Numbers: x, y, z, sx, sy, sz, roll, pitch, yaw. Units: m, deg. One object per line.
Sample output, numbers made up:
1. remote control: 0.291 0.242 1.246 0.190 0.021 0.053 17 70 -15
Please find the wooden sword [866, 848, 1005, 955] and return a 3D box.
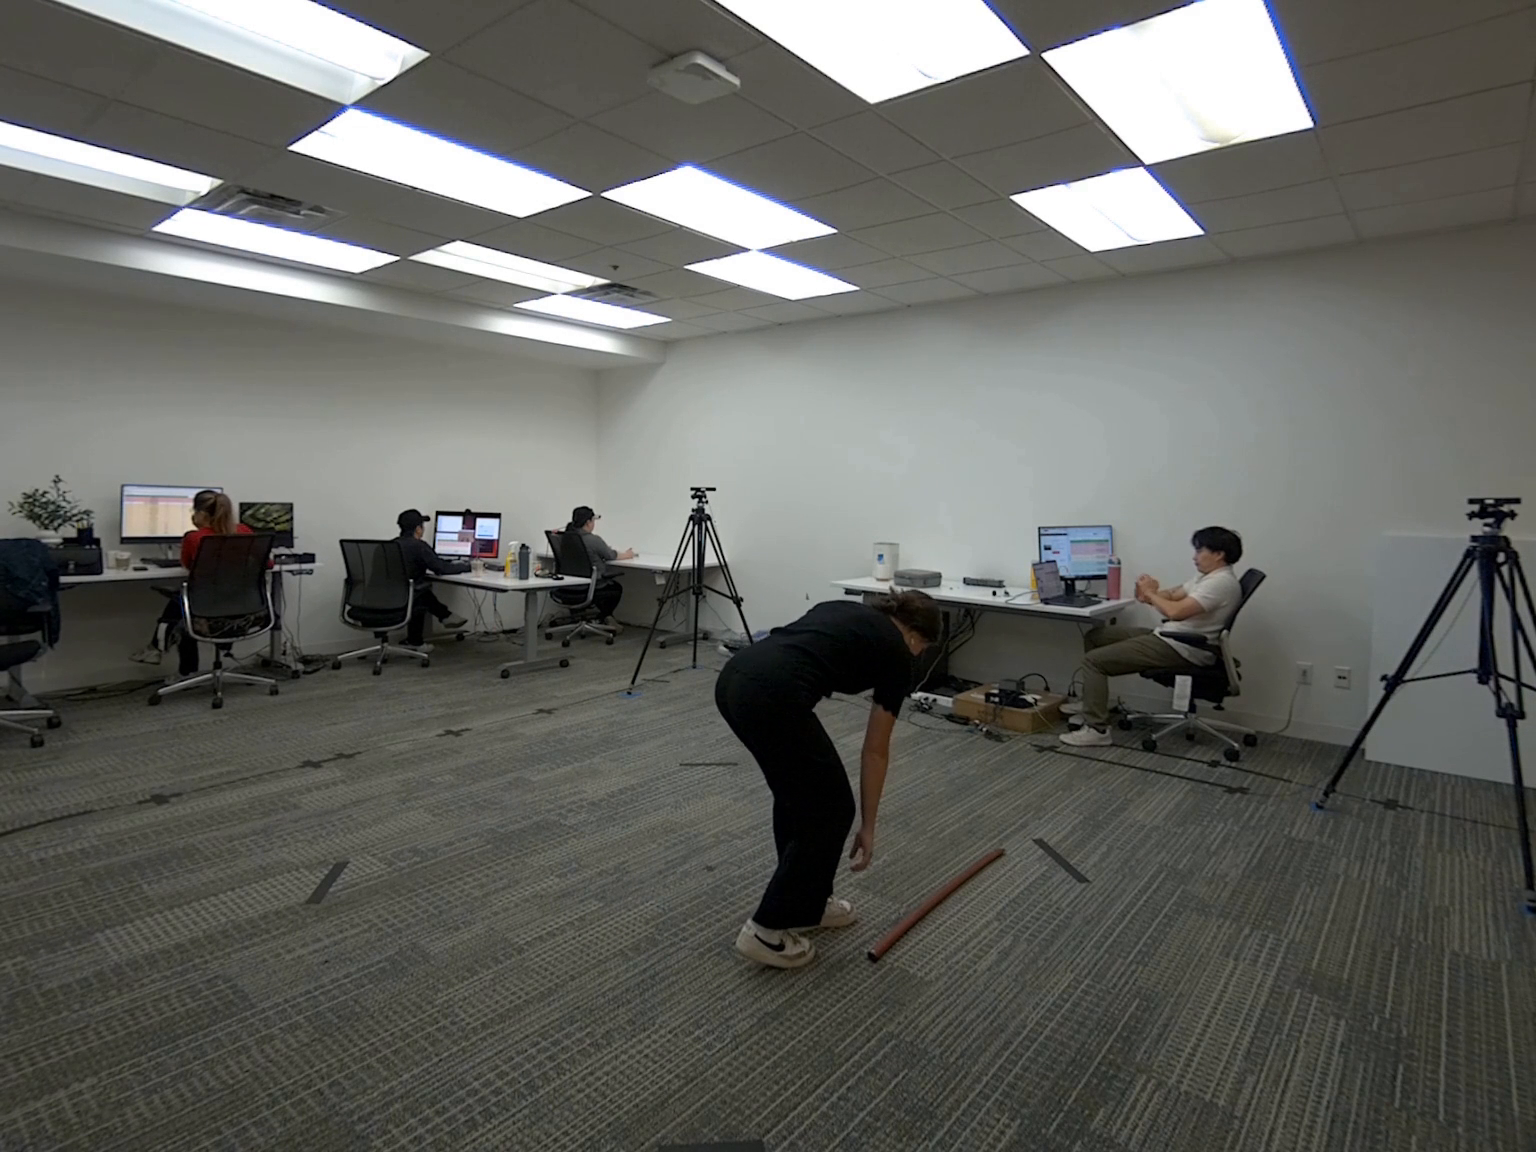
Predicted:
1. wooden sword: 0.587 1.077 2.939 0.052 0.024 0.995 -20 -9 37
